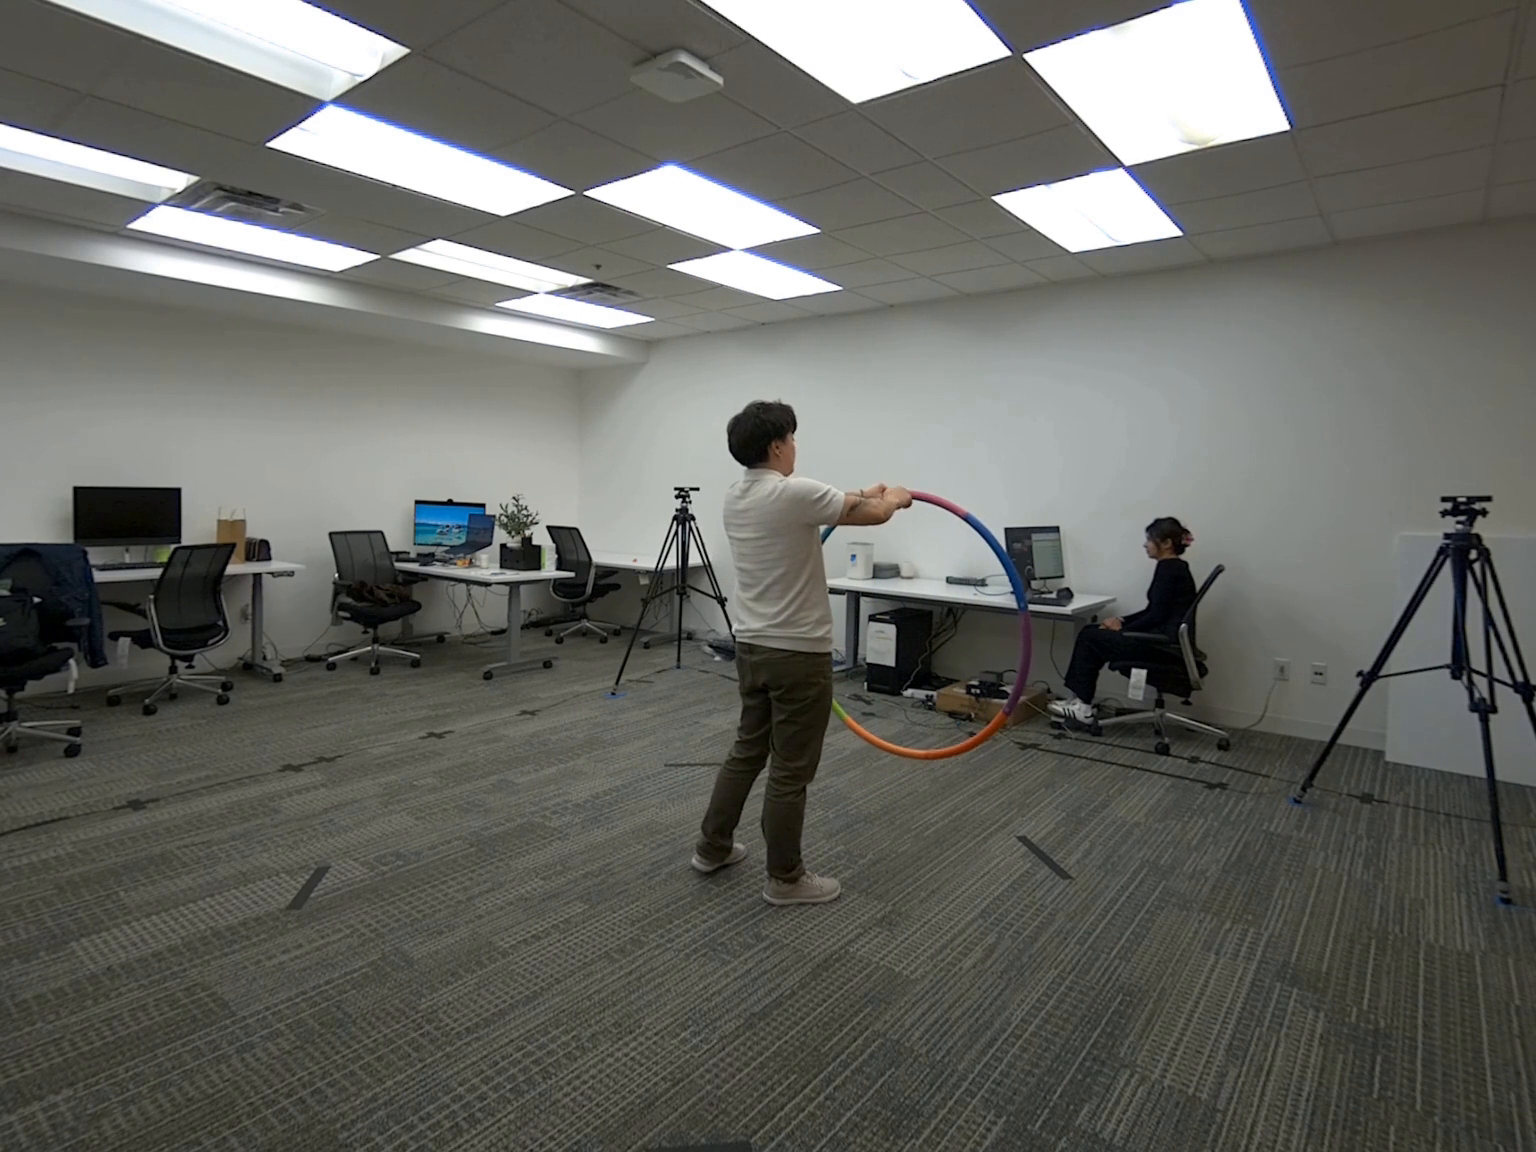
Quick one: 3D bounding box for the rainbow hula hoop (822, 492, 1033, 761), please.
[{"bbox_3d":[0.474,0.175,3.140,1.012,0.974,0.034,5,7,43],"label":"rainbow hula hoop"}]
